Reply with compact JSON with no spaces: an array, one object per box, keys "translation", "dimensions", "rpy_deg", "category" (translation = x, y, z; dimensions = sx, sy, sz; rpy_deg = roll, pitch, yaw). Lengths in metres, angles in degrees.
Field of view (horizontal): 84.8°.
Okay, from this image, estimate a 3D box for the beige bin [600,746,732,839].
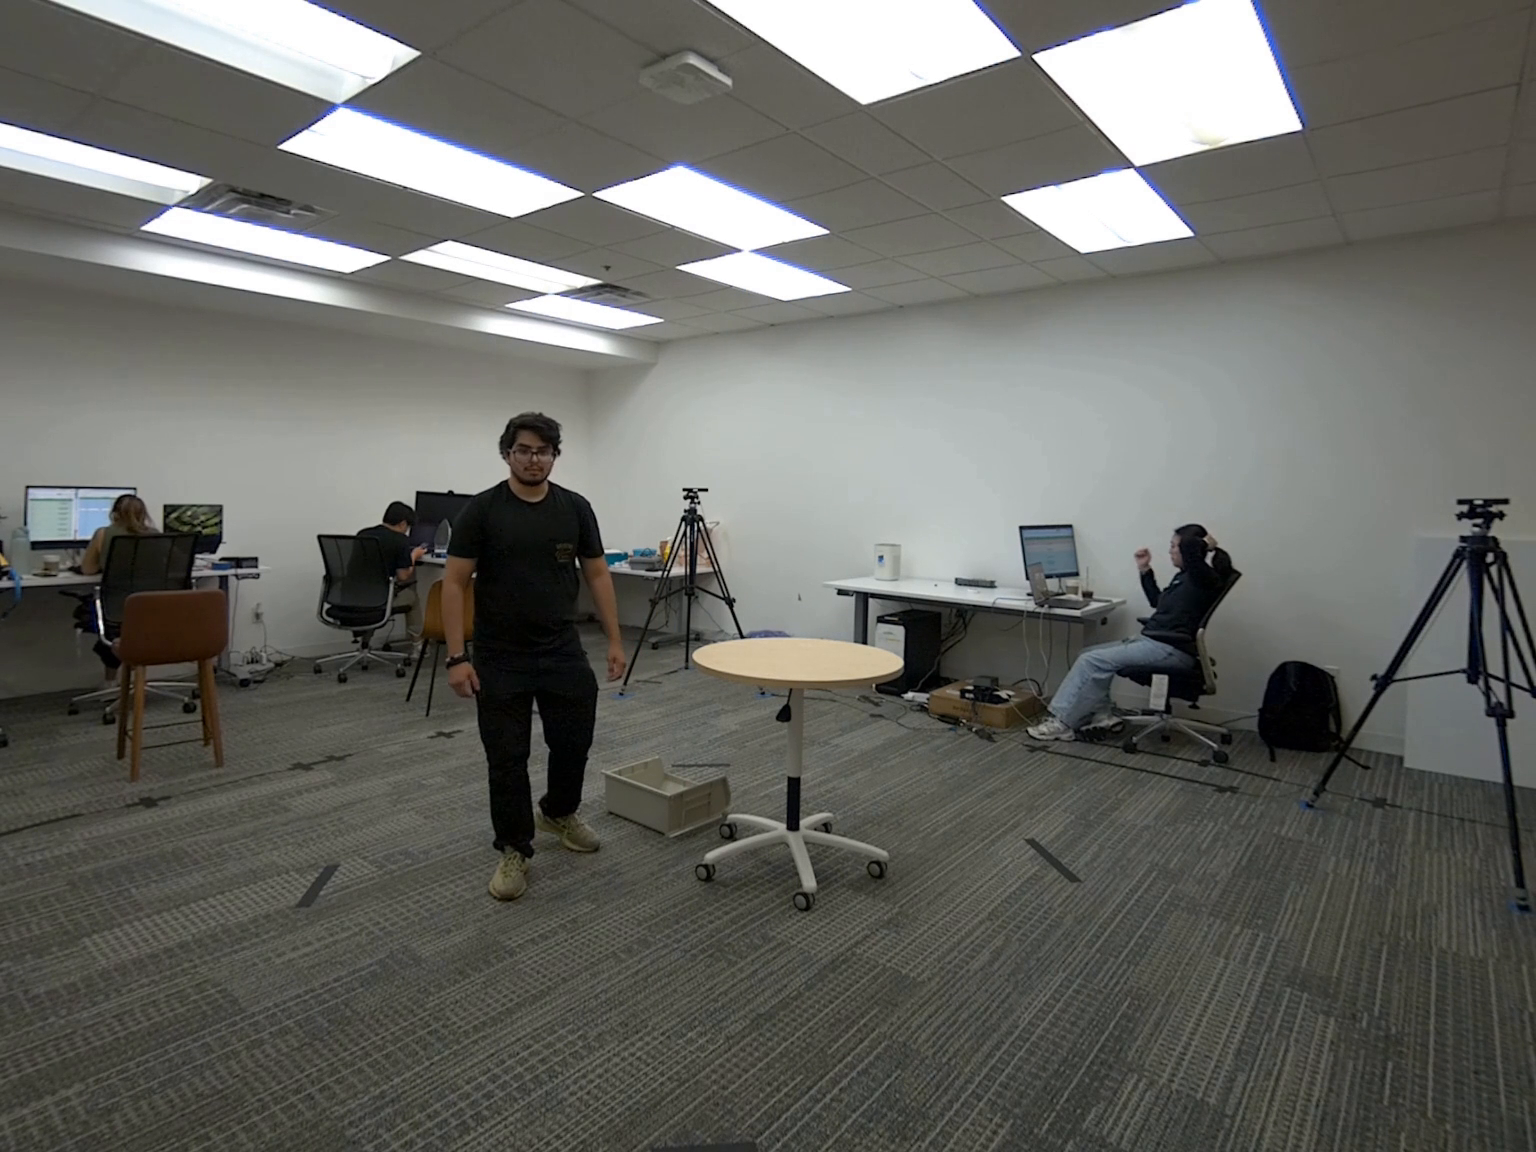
[{"translation":[-0.443,0.920,3.639],"dimensions":[0.437,0.188,0.366],"rpy_deg":[6,8,40],"category":"beige bin"}]
